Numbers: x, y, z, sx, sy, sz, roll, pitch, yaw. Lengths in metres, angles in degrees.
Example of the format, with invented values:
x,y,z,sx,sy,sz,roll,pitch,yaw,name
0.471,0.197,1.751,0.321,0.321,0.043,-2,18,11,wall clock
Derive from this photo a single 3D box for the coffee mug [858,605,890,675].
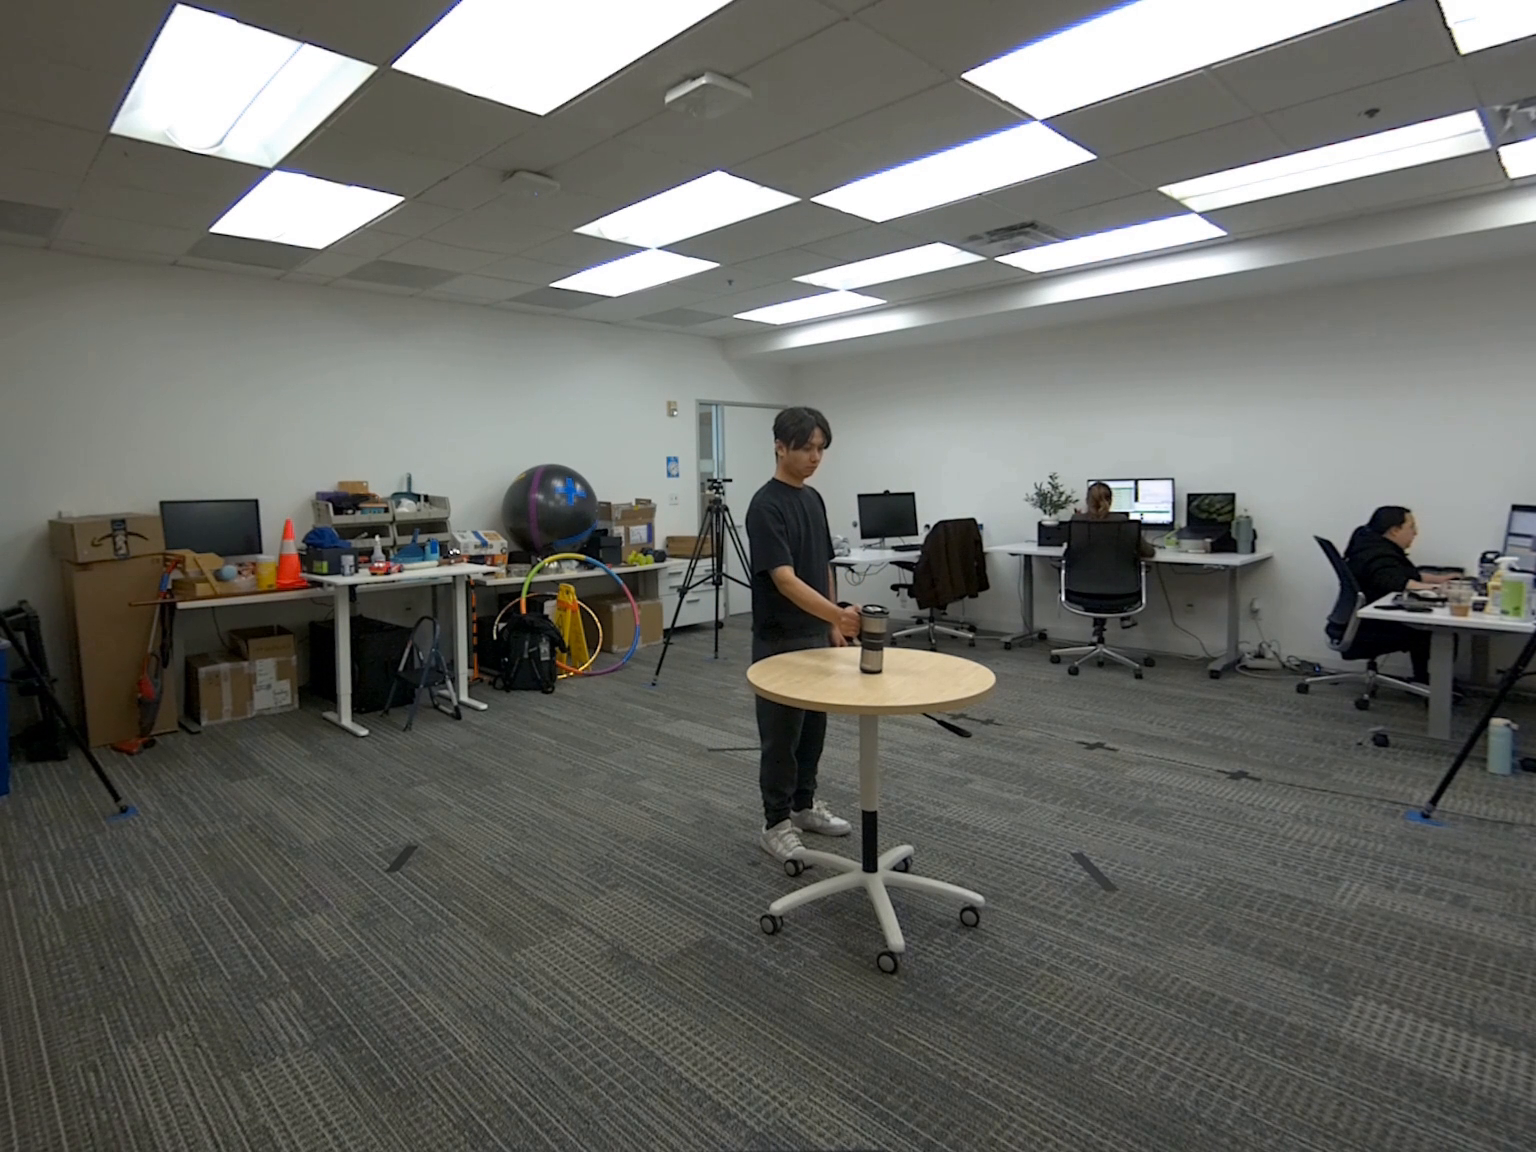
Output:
x,y,z,sx,sy,sz,roll,pitch,yaw,name
0.317,0.199,2.703,0.086,0.201,0.126,-7,13,-35,coffee mug
